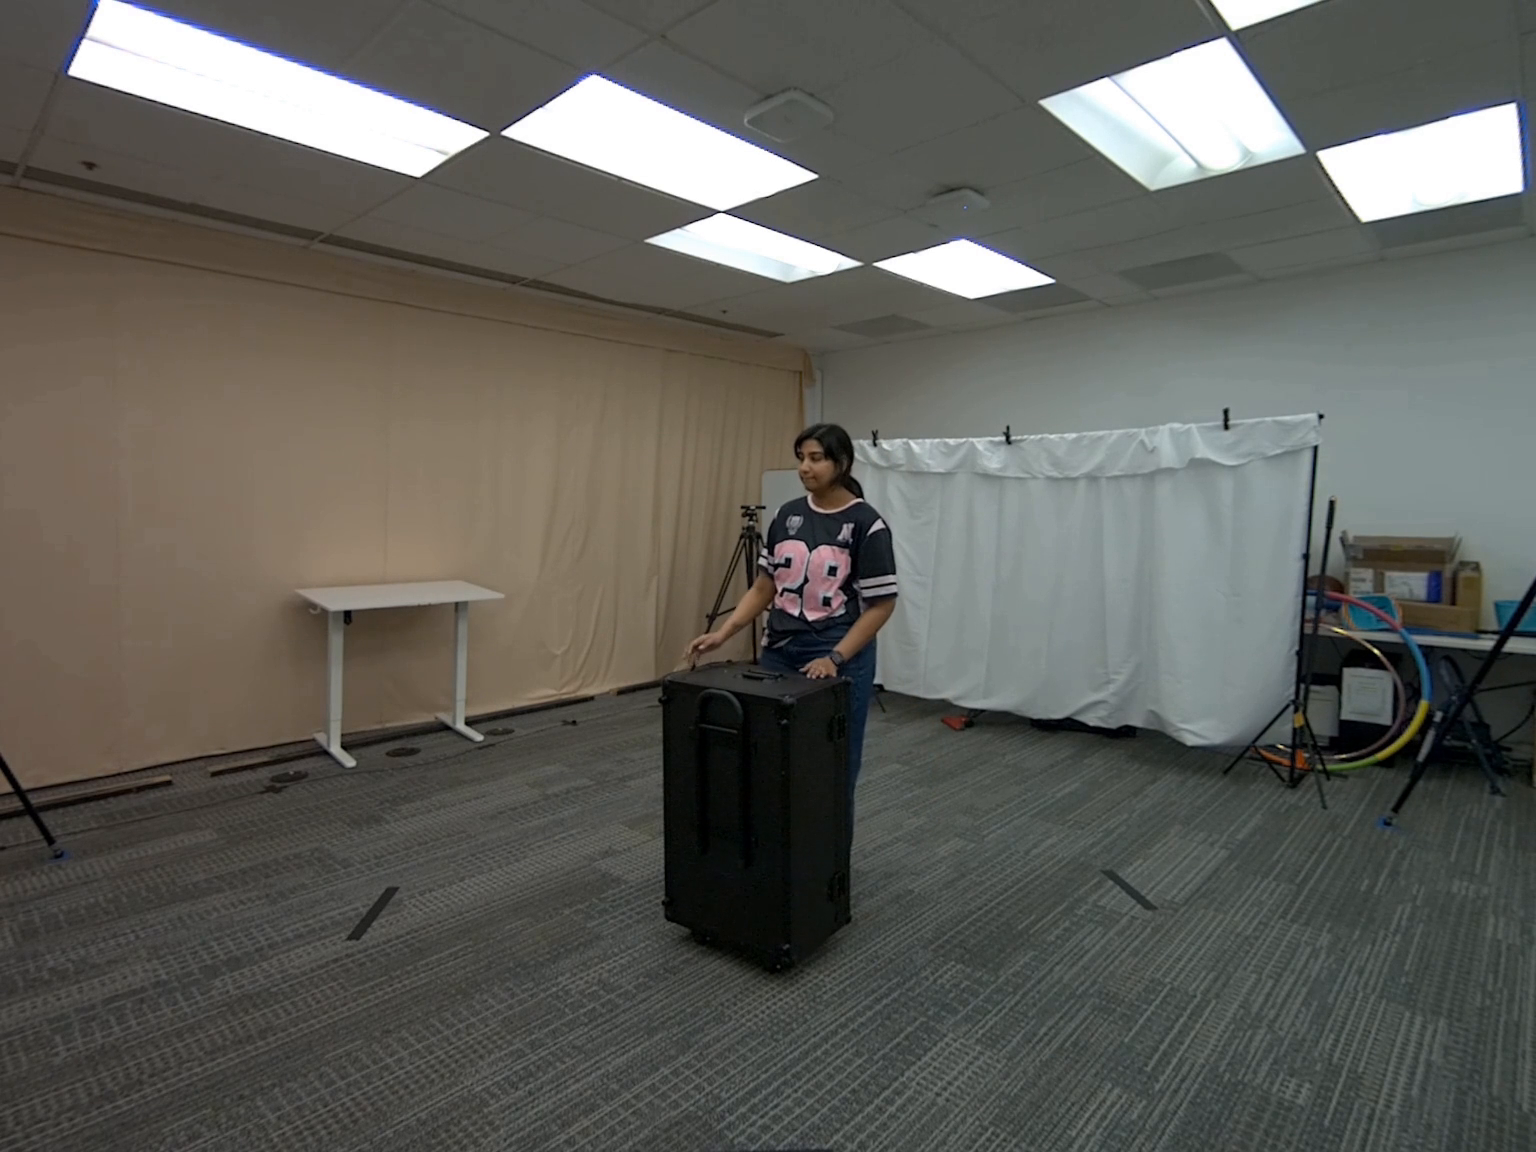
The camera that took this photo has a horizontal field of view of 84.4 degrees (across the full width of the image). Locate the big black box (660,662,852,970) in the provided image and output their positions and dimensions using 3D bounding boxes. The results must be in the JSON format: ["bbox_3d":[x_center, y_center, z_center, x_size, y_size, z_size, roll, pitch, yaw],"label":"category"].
[{"bbox_3d":[-0.029,0.751,2.656,0.540,0.866,0.374,2,4,36],"label":"big black box"}]
